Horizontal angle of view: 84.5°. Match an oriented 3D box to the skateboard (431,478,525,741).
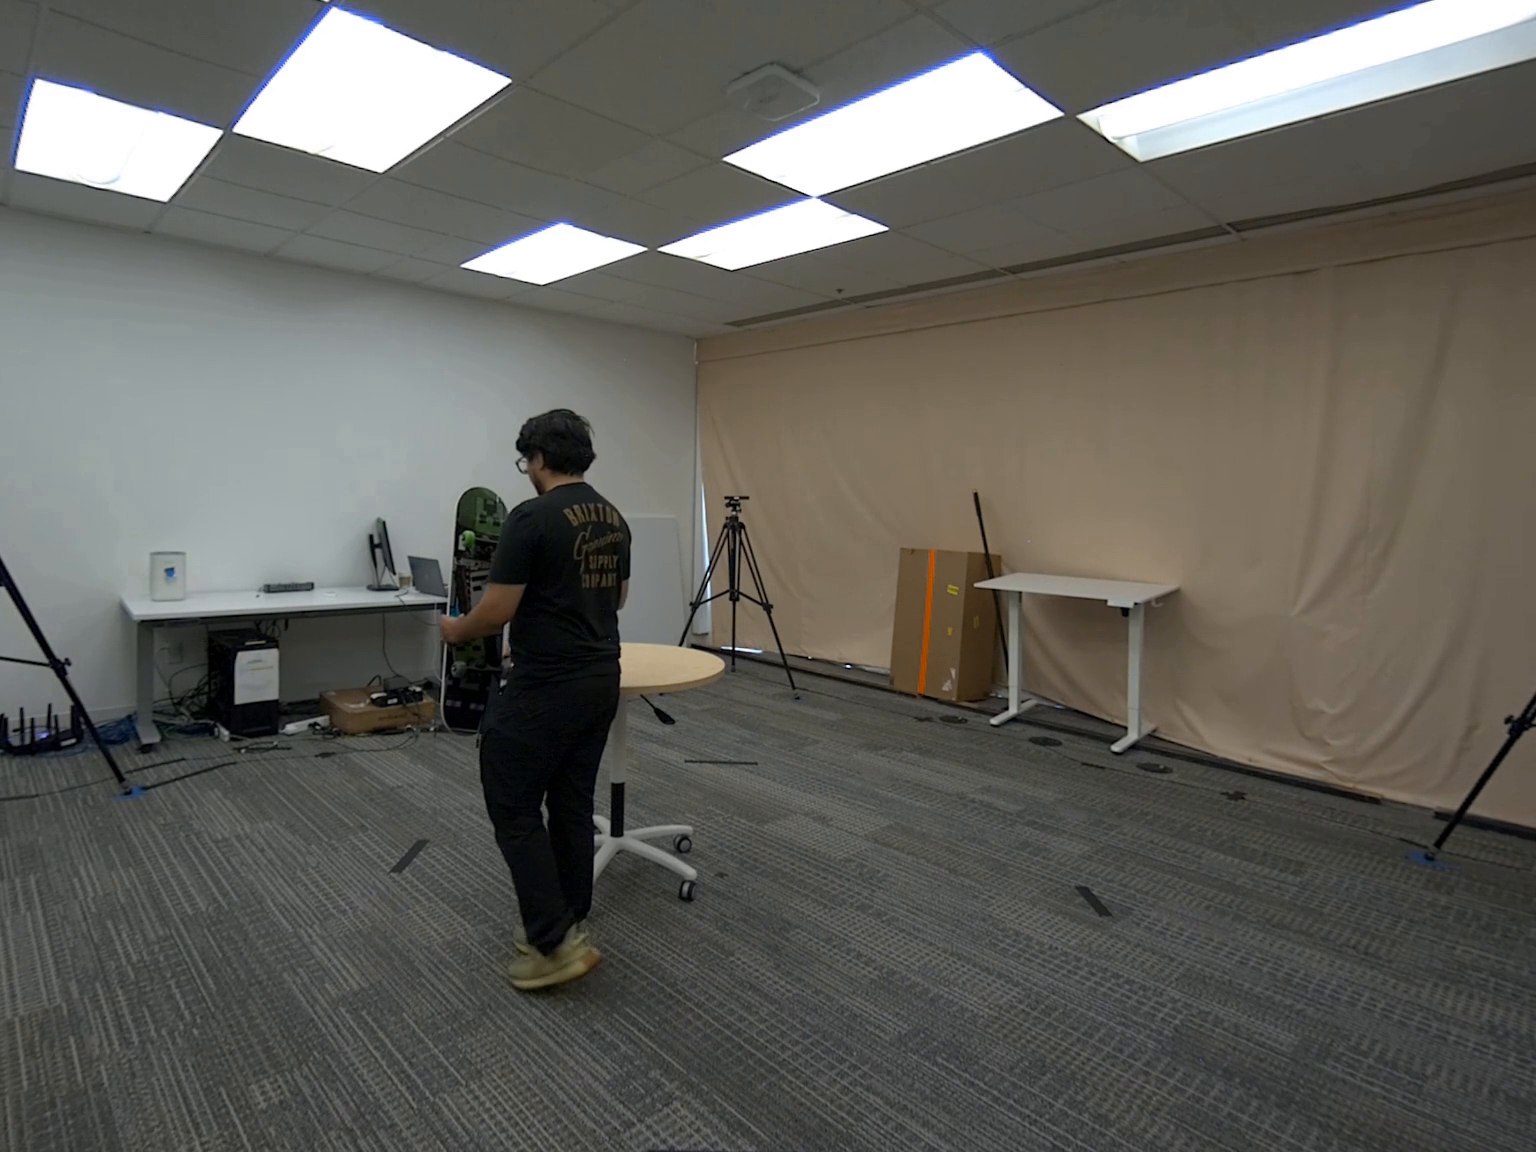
[{"bbox_3d":[-0.897,0.103,2.627,0.112,0.792,0.188,-11,-16,43],"label":"skateboard"}]
